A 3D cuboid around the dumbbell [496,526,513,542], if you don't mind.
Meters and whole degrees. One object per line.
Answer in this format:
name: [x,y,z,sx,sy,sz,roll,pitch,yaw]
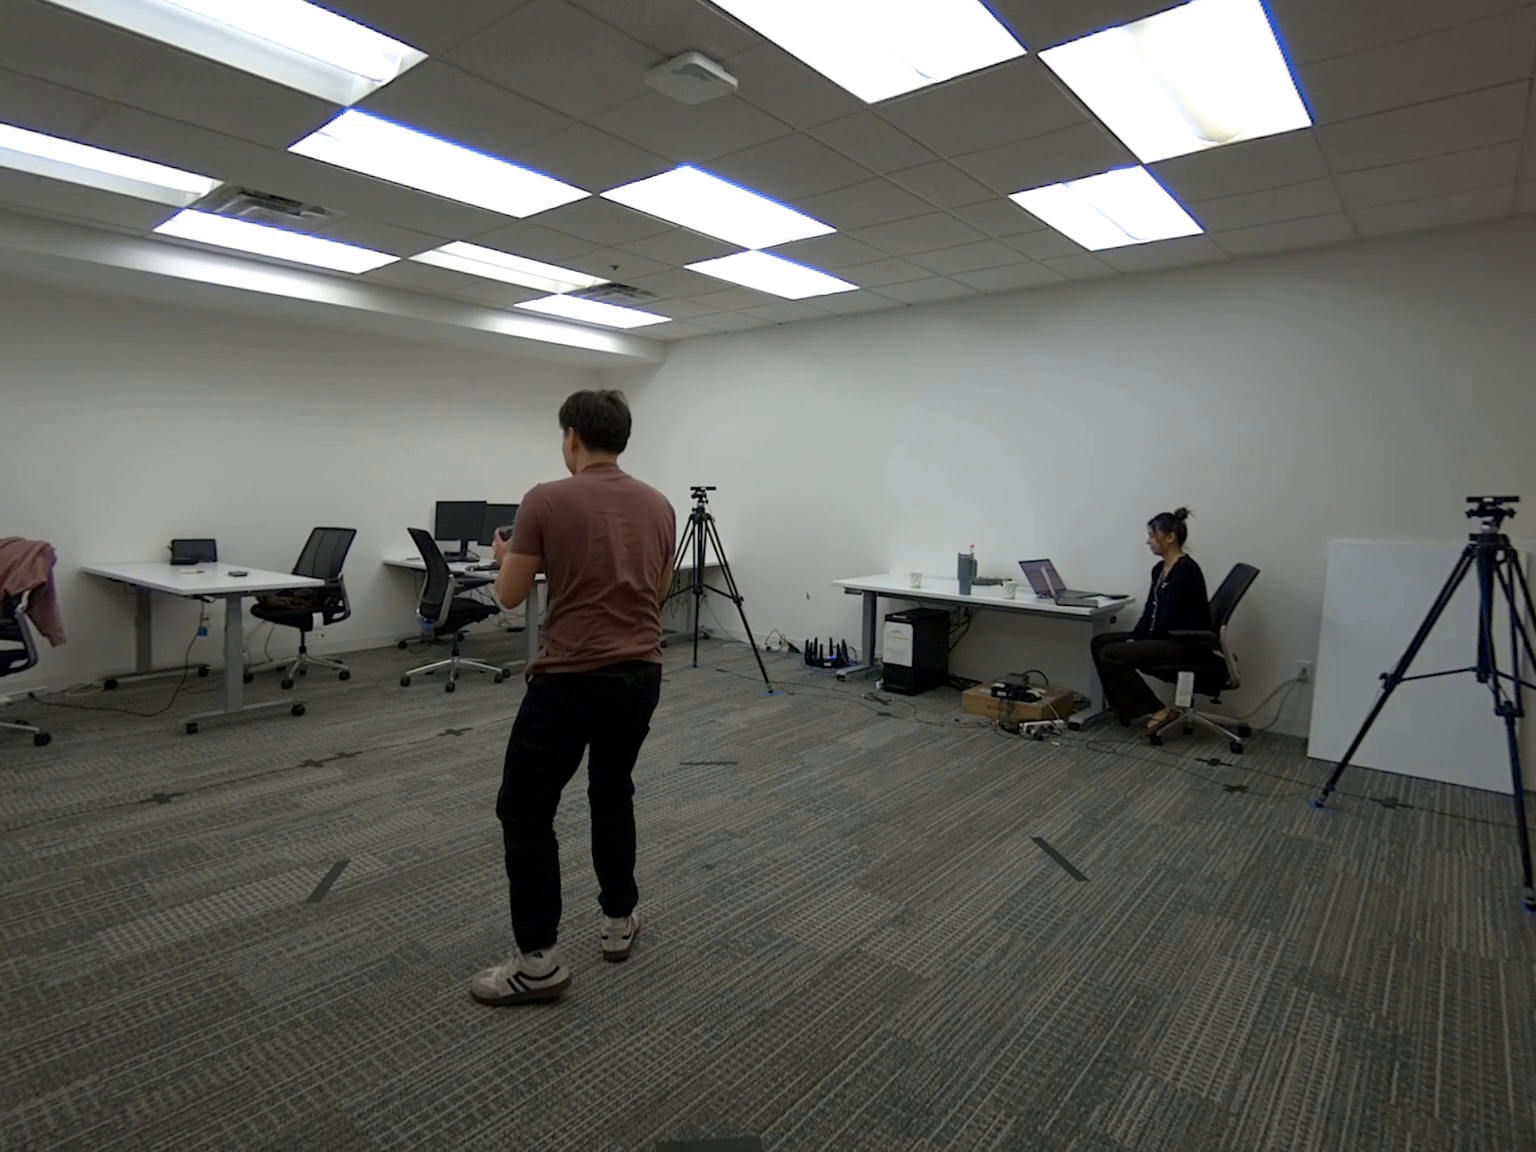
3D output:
dumbbell: [-0.711,-0.098,2.692,0.285,0.121,0.113,-7,39,-37]
